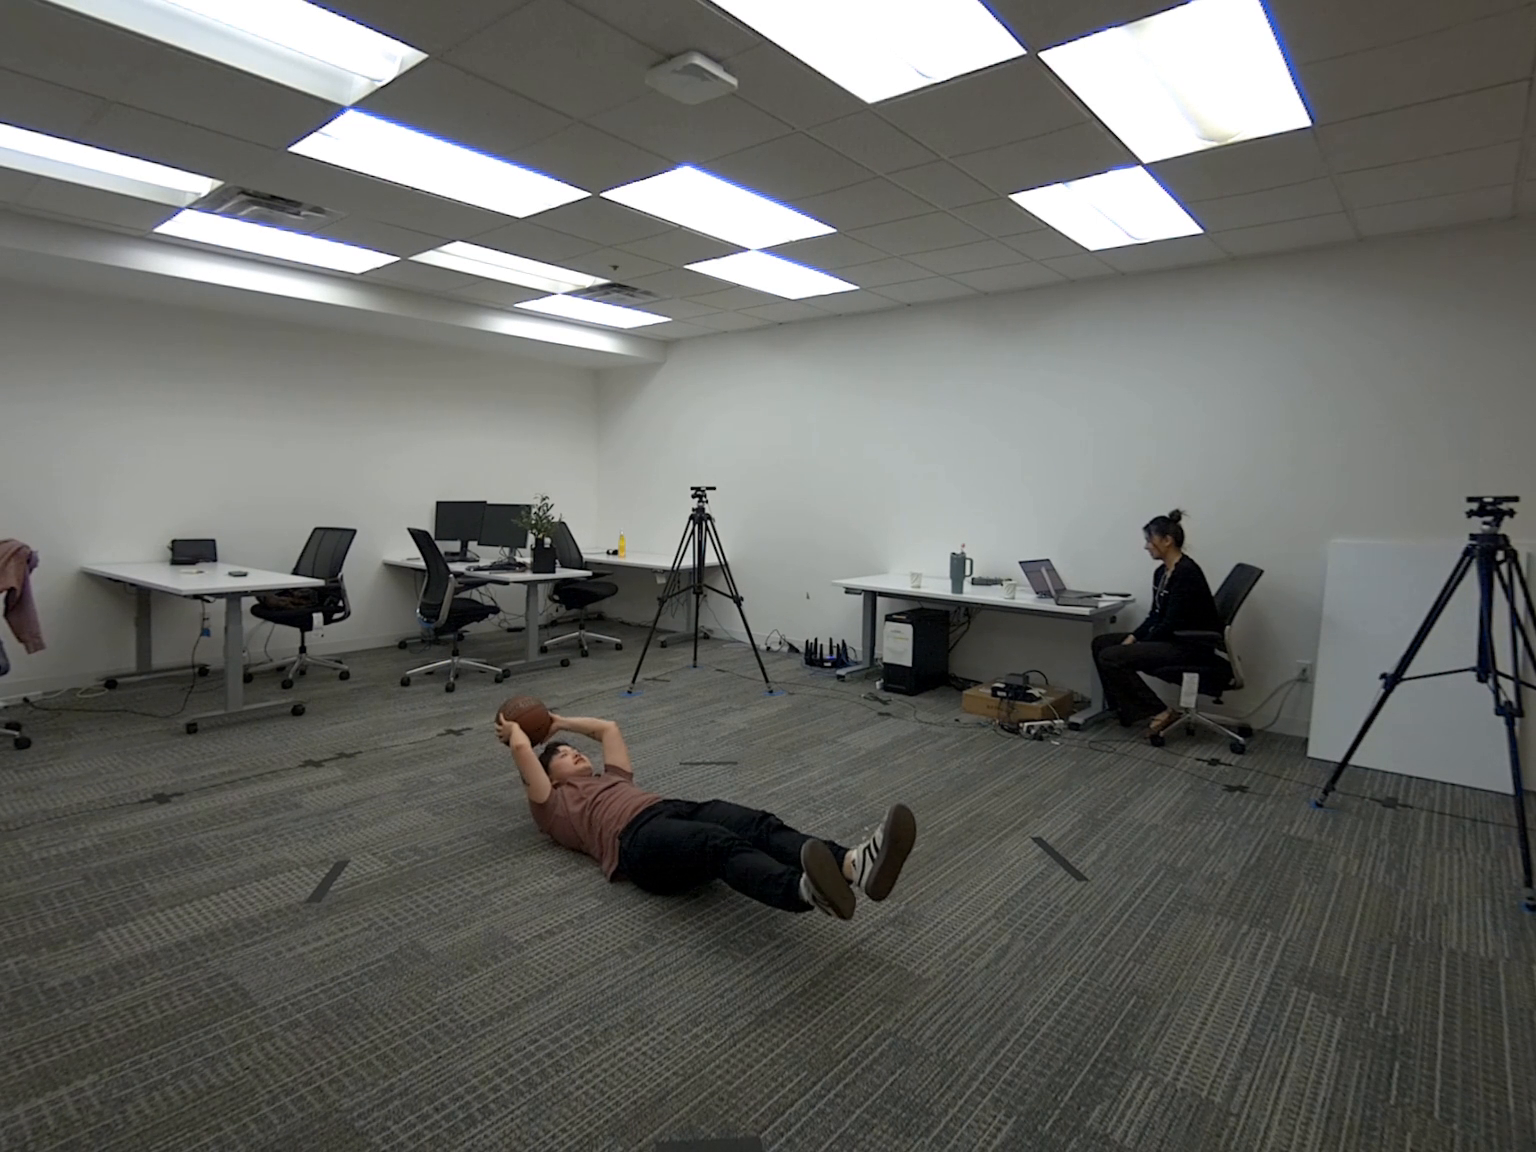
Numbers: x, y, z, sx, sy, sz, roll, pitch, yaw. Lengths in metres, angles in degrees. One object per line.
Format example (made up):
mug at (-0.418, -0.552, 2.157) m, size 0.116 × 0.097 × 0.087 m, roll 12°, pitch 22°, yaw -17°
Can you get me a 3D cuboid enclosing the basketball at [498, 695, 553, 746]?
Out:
basketball at (-1.078, 0.637, 3.716) m, size 0.235 × 0.235 × 0.237 m, roll 1°, pitch 5°, yaw -2°
